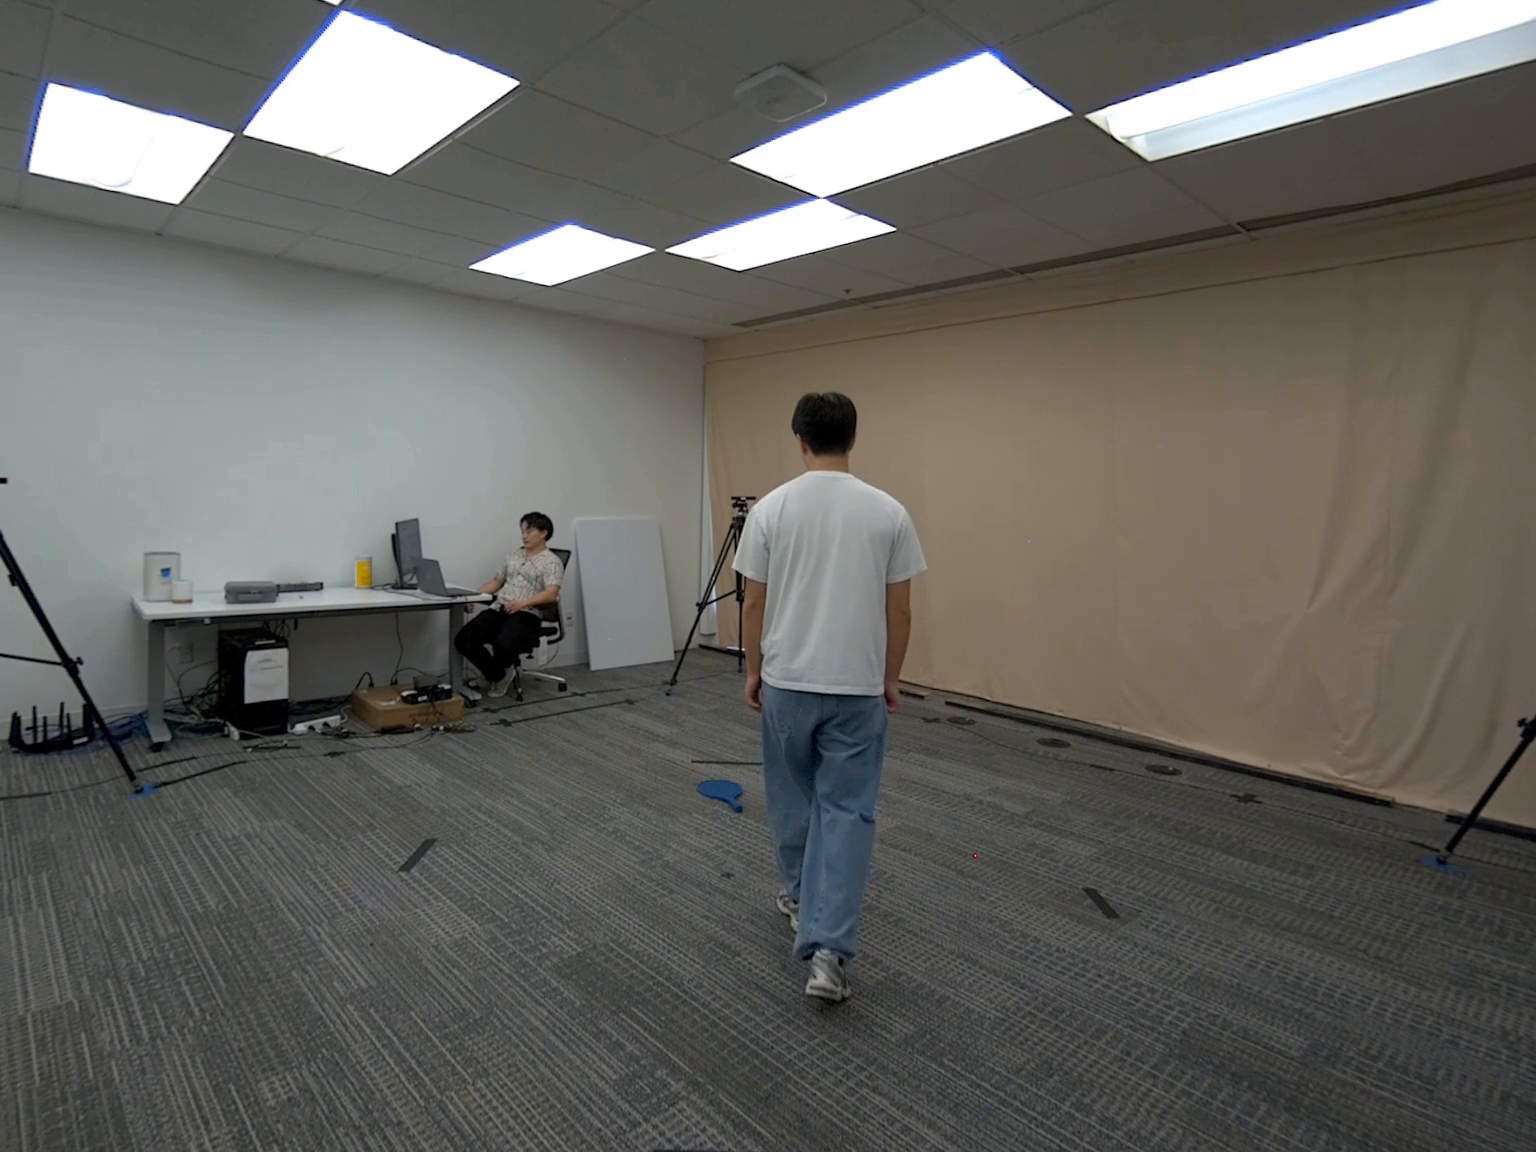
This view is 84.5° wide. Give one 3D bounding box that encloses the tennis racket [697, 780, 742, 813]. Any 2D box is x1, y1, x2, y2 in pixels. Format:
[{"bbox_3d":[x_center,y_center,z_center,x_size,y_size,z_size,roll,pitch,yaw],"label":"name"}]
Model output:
[{"bbox_3d":[-0.216,1.017,3.939,0.211,0.032,0.439,0,4,-18],"label":"tennis racket"}]
